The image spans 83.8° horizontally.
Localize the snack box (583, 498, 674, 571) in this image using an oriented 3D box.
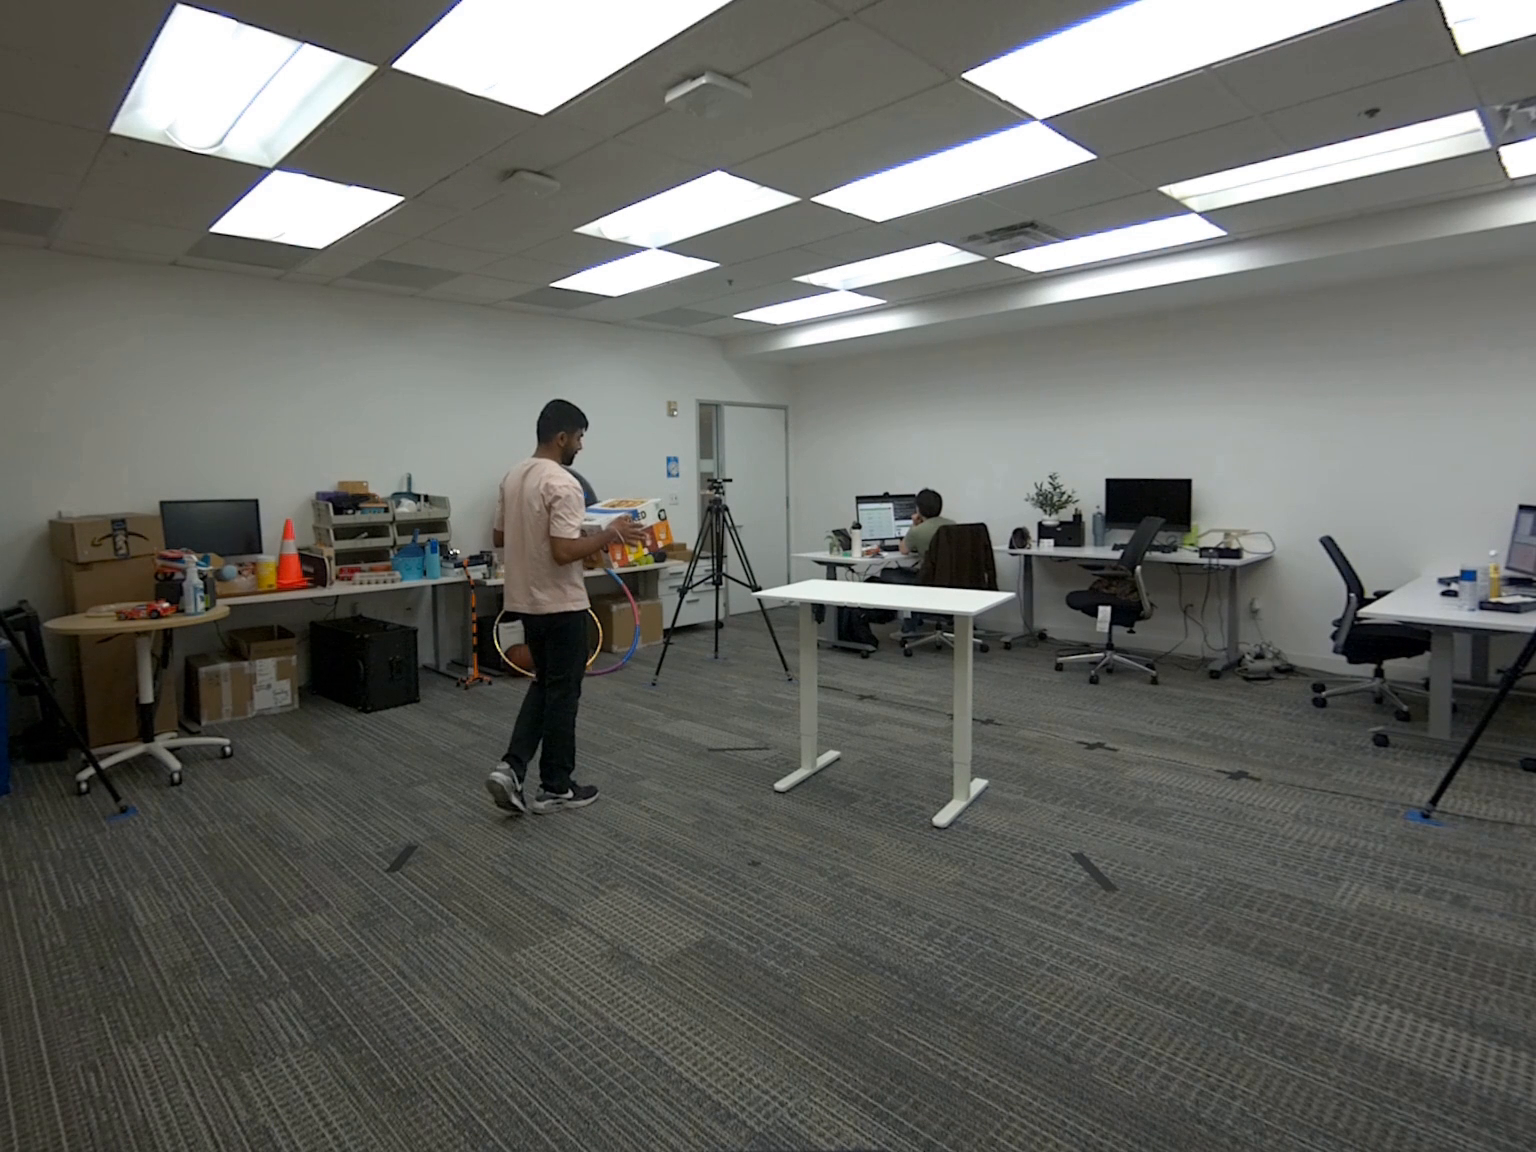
[{"bbox_3d":[-0.700,-0.196,3.810,0.336,0.202,0.417,-27,21,-39],"label":"snack box"}]
